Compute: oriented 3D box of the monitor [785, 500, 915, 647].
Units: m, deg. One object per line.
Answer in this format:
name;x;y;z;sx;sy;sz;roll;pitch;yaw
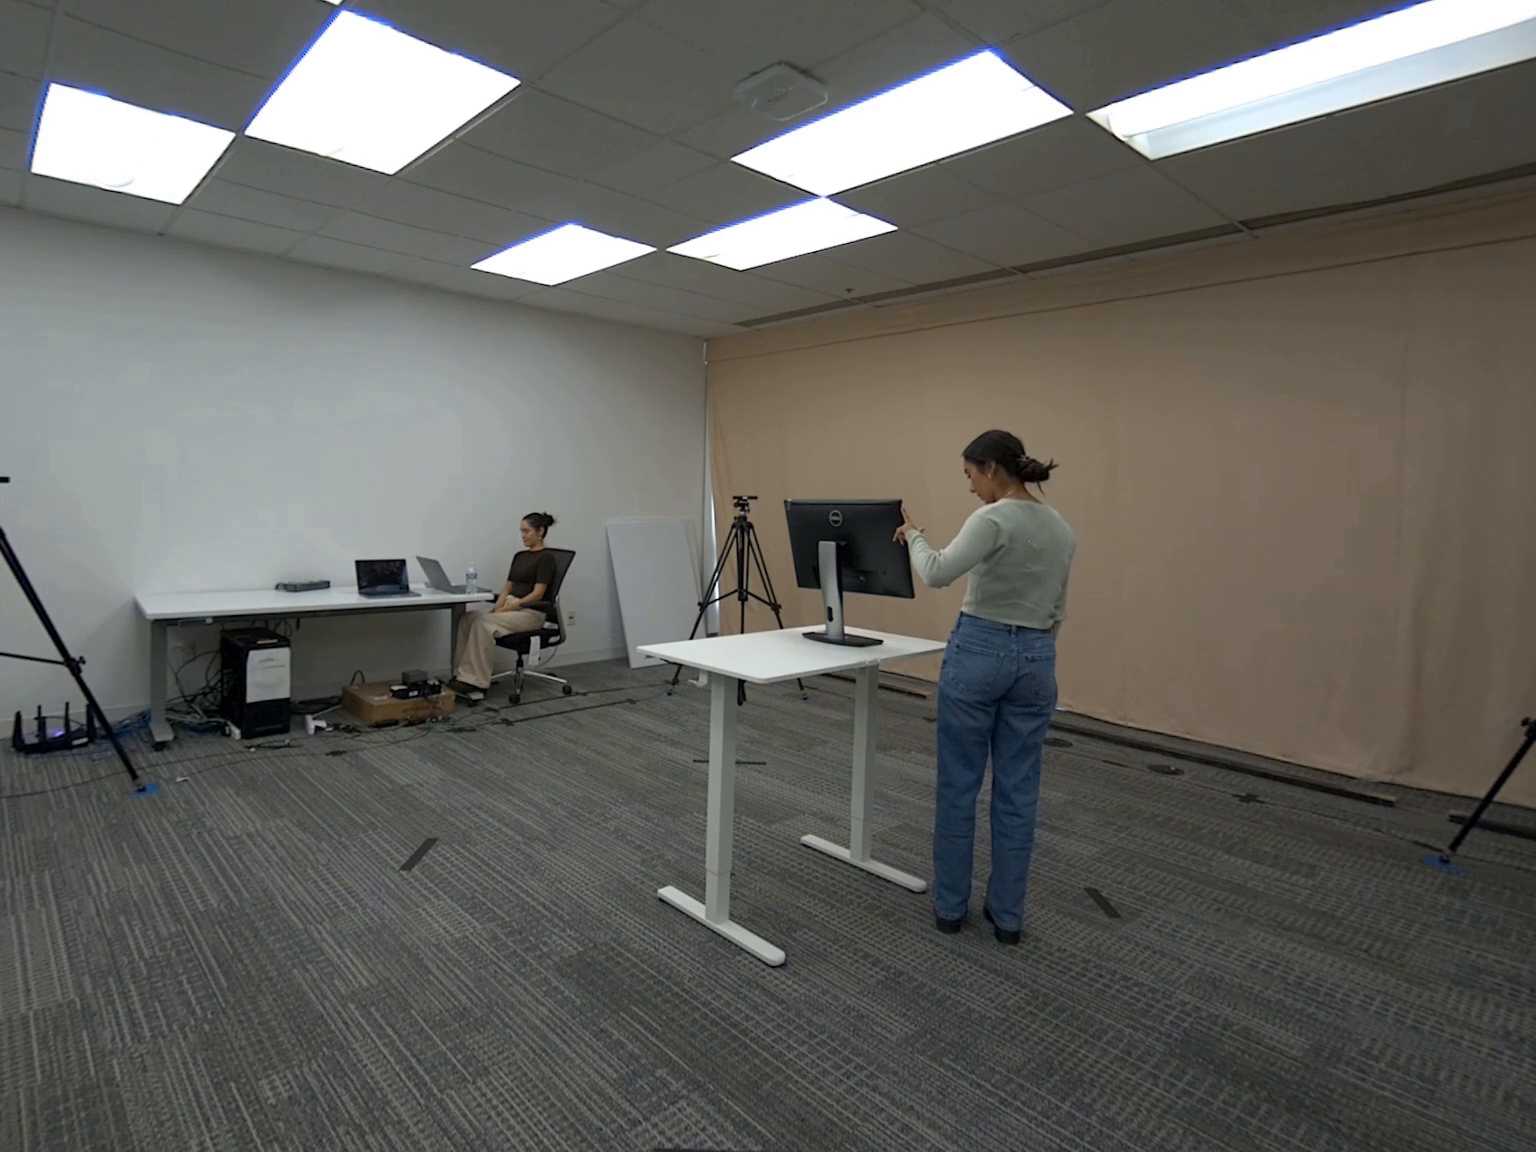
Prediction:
monitor;0.246;-0.012;3.037;0.183;0.520;0.553;-5;8;-43
